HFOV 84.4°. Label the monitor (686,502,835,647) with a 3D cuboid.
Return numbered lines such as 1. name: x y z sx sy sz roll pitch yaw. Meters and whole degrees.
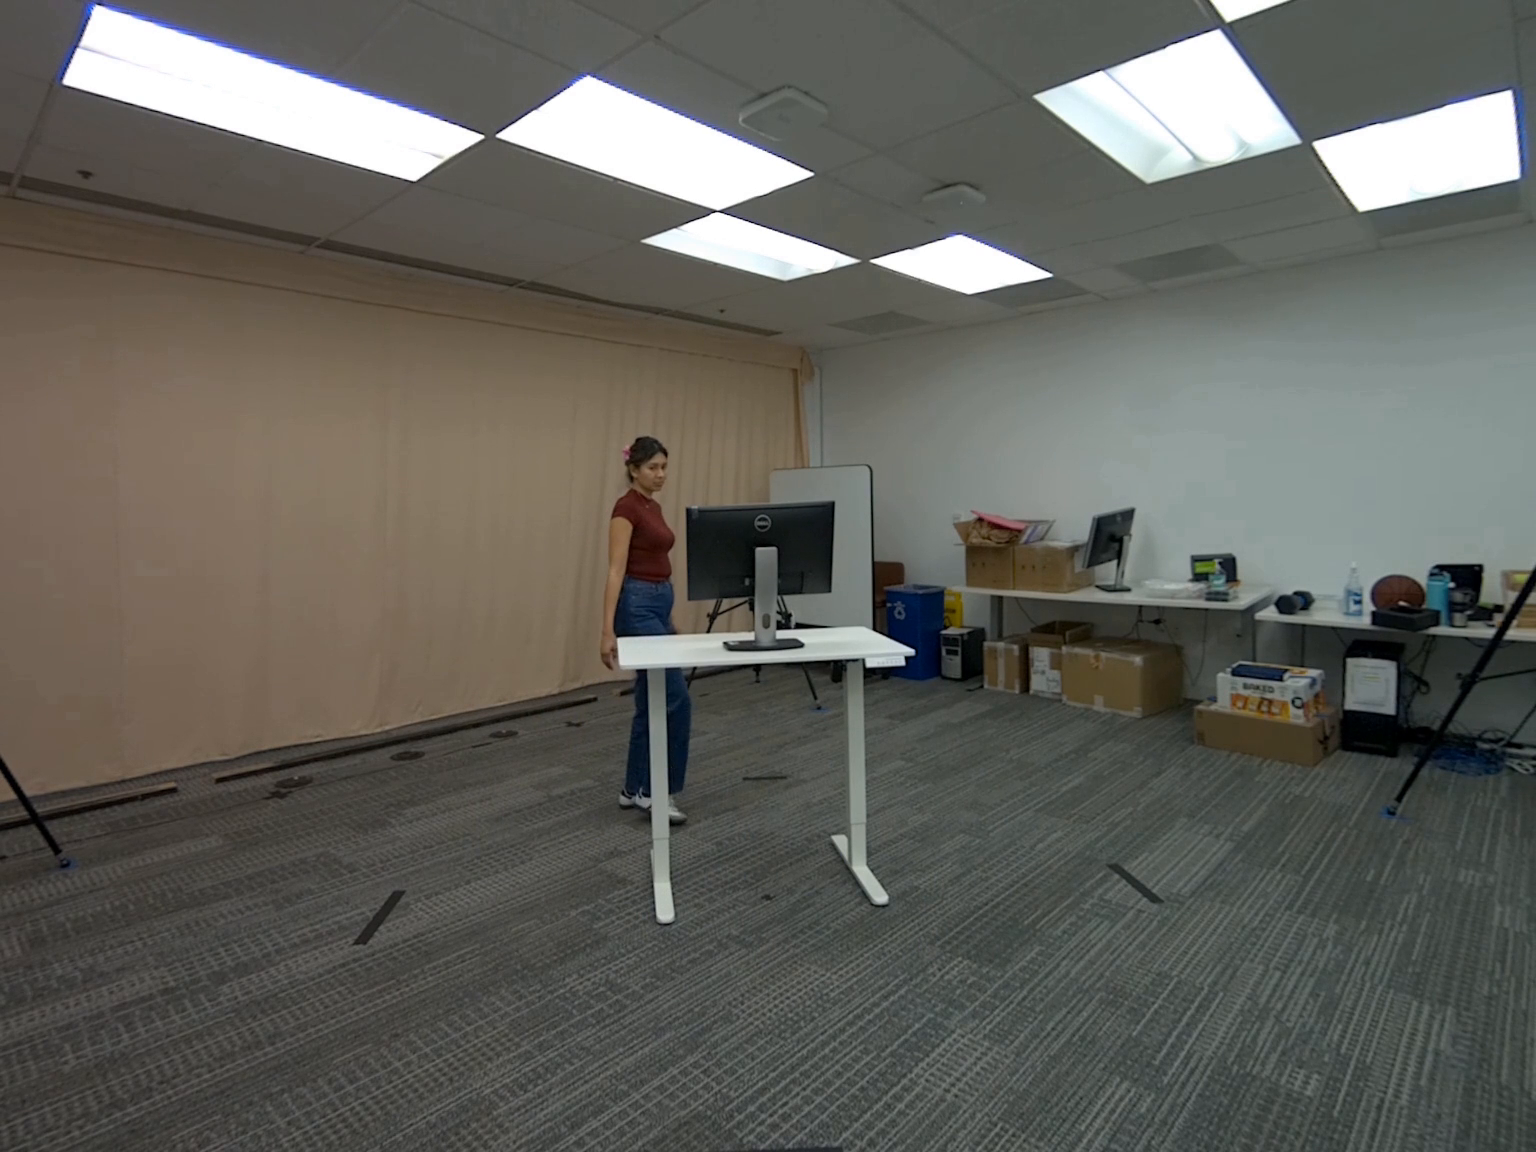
1. monitor: -0.013 0.003 2.998 0.534 0.521 0.189 -2 5 -9
